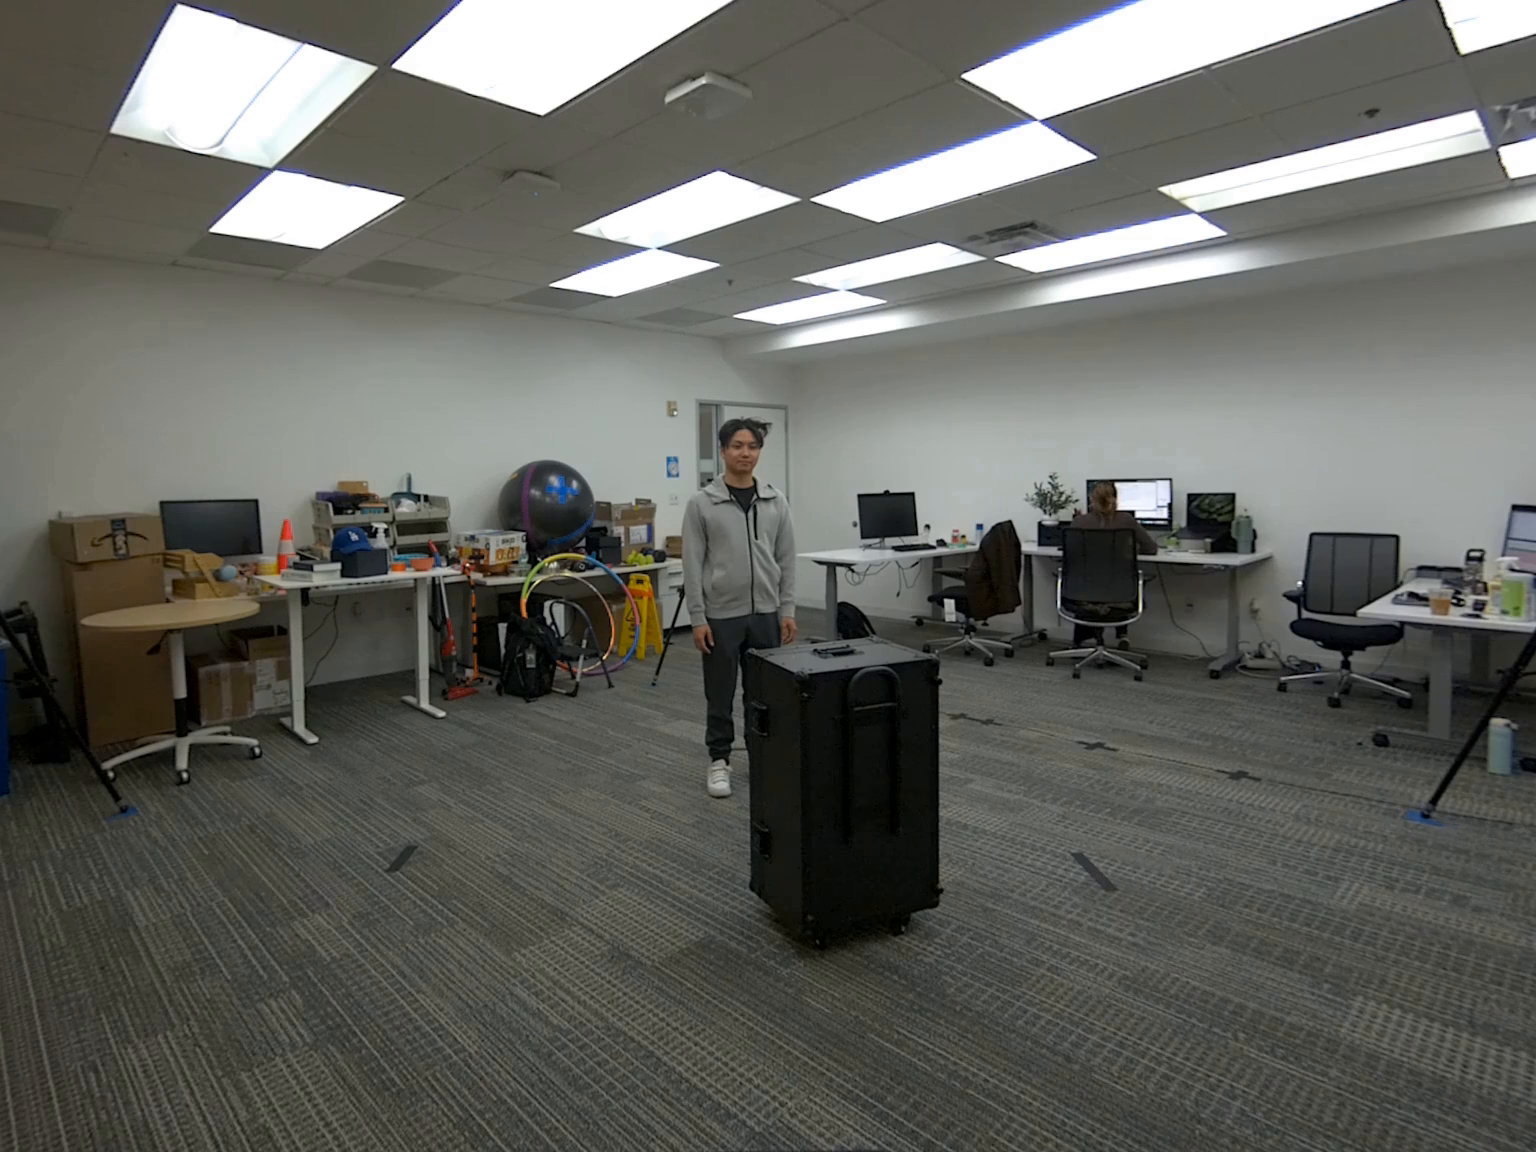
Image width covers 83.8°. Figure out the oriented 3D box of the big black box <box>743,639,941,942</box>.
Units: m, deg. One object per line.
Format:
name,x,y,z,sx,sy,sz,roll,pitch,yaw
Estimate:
big black box,0.245,0.668,2.668,0.510,0.857,0.406,-3,6,-25
